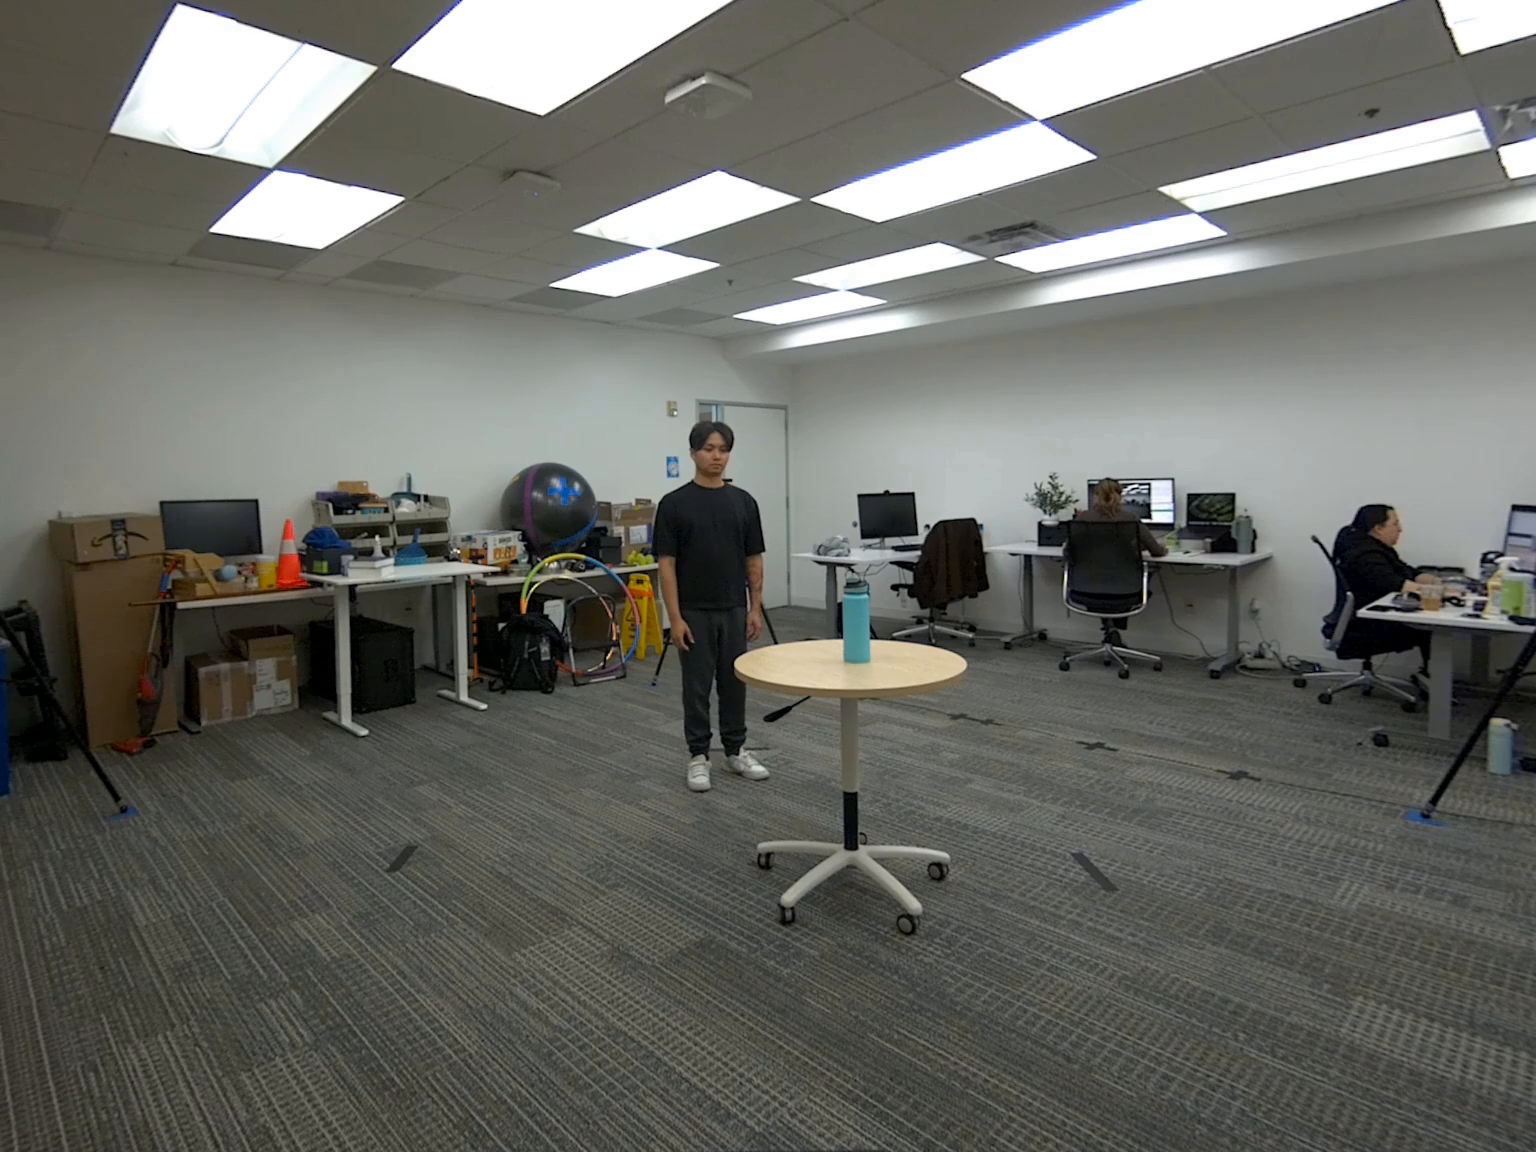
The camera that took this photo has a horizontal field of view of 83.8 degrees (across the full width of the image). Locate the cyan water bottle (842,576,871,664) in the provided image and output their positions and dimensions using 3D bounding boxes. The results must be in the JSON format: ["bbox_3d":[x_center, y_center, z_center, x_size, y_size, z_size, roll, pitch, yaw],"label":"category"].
[{"bbox_3d":[0.304,0.145,2.853,0.092,0.283,0.092,-1,2,-2],"label":"cyan water bottle"}]
